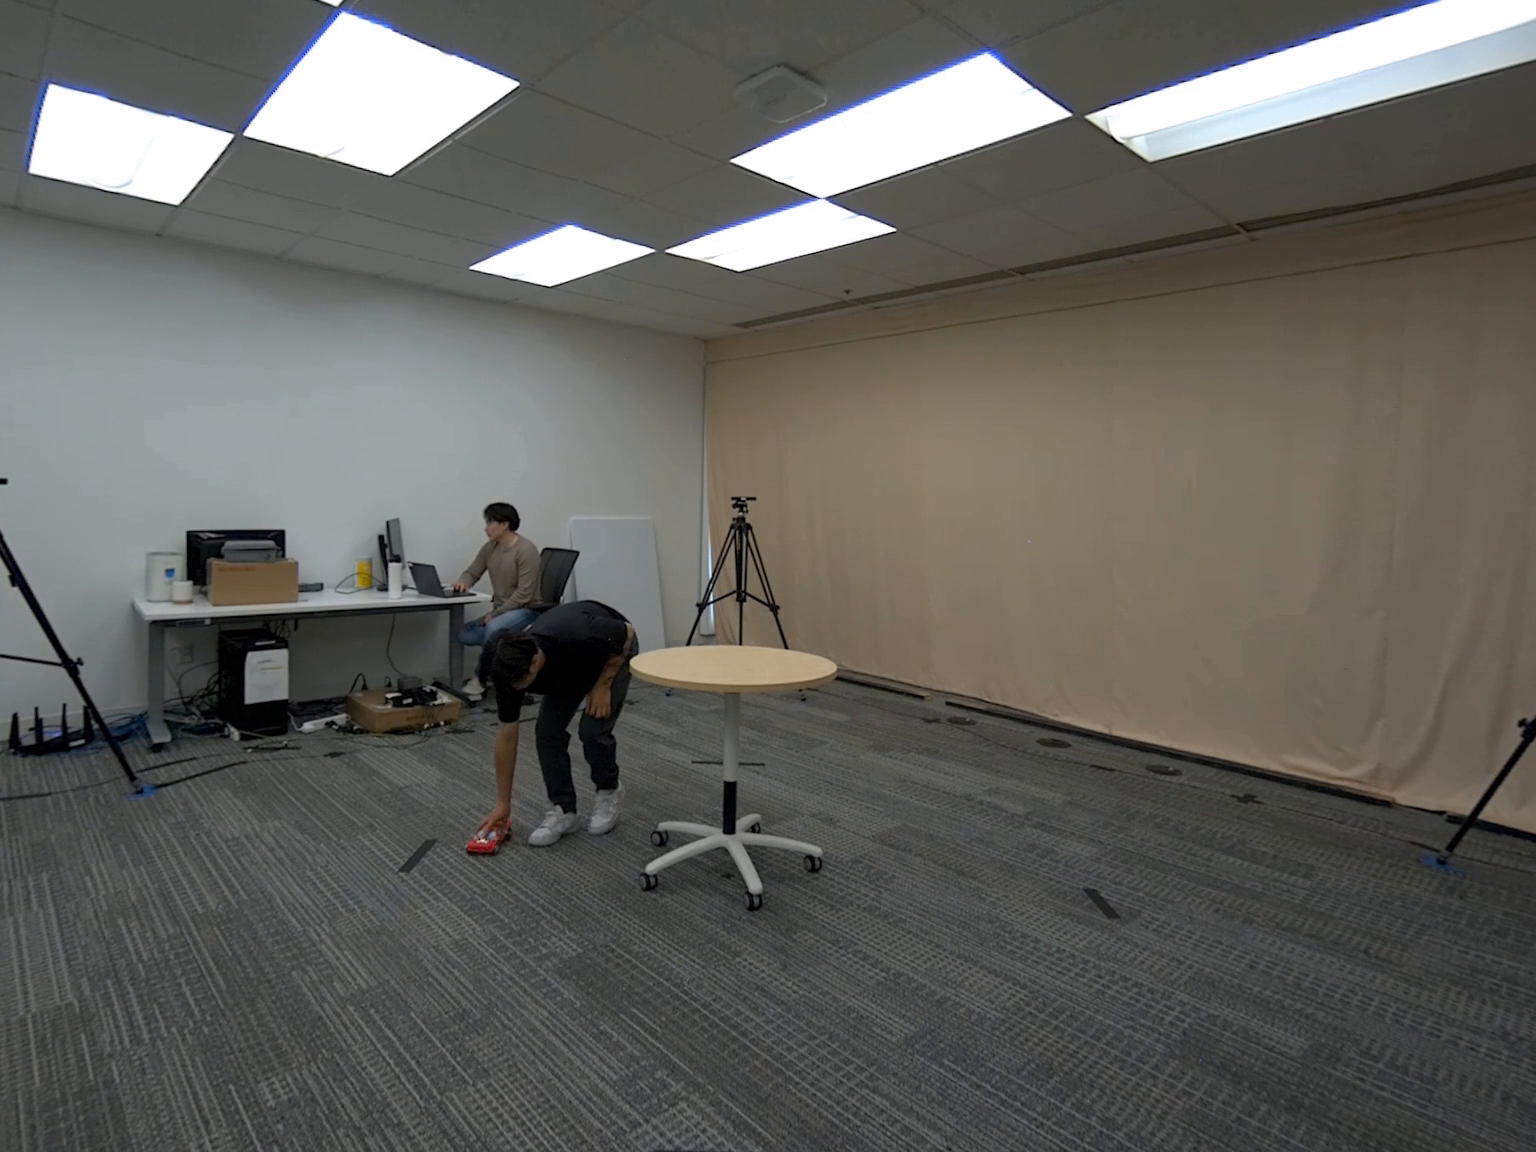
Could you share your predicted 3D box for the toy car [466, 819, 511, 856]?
[{"bbox_3d":[-1.098,1.031,3.342,0.131,0.082,0.256,2,18,4],"label":"toy car"}]
